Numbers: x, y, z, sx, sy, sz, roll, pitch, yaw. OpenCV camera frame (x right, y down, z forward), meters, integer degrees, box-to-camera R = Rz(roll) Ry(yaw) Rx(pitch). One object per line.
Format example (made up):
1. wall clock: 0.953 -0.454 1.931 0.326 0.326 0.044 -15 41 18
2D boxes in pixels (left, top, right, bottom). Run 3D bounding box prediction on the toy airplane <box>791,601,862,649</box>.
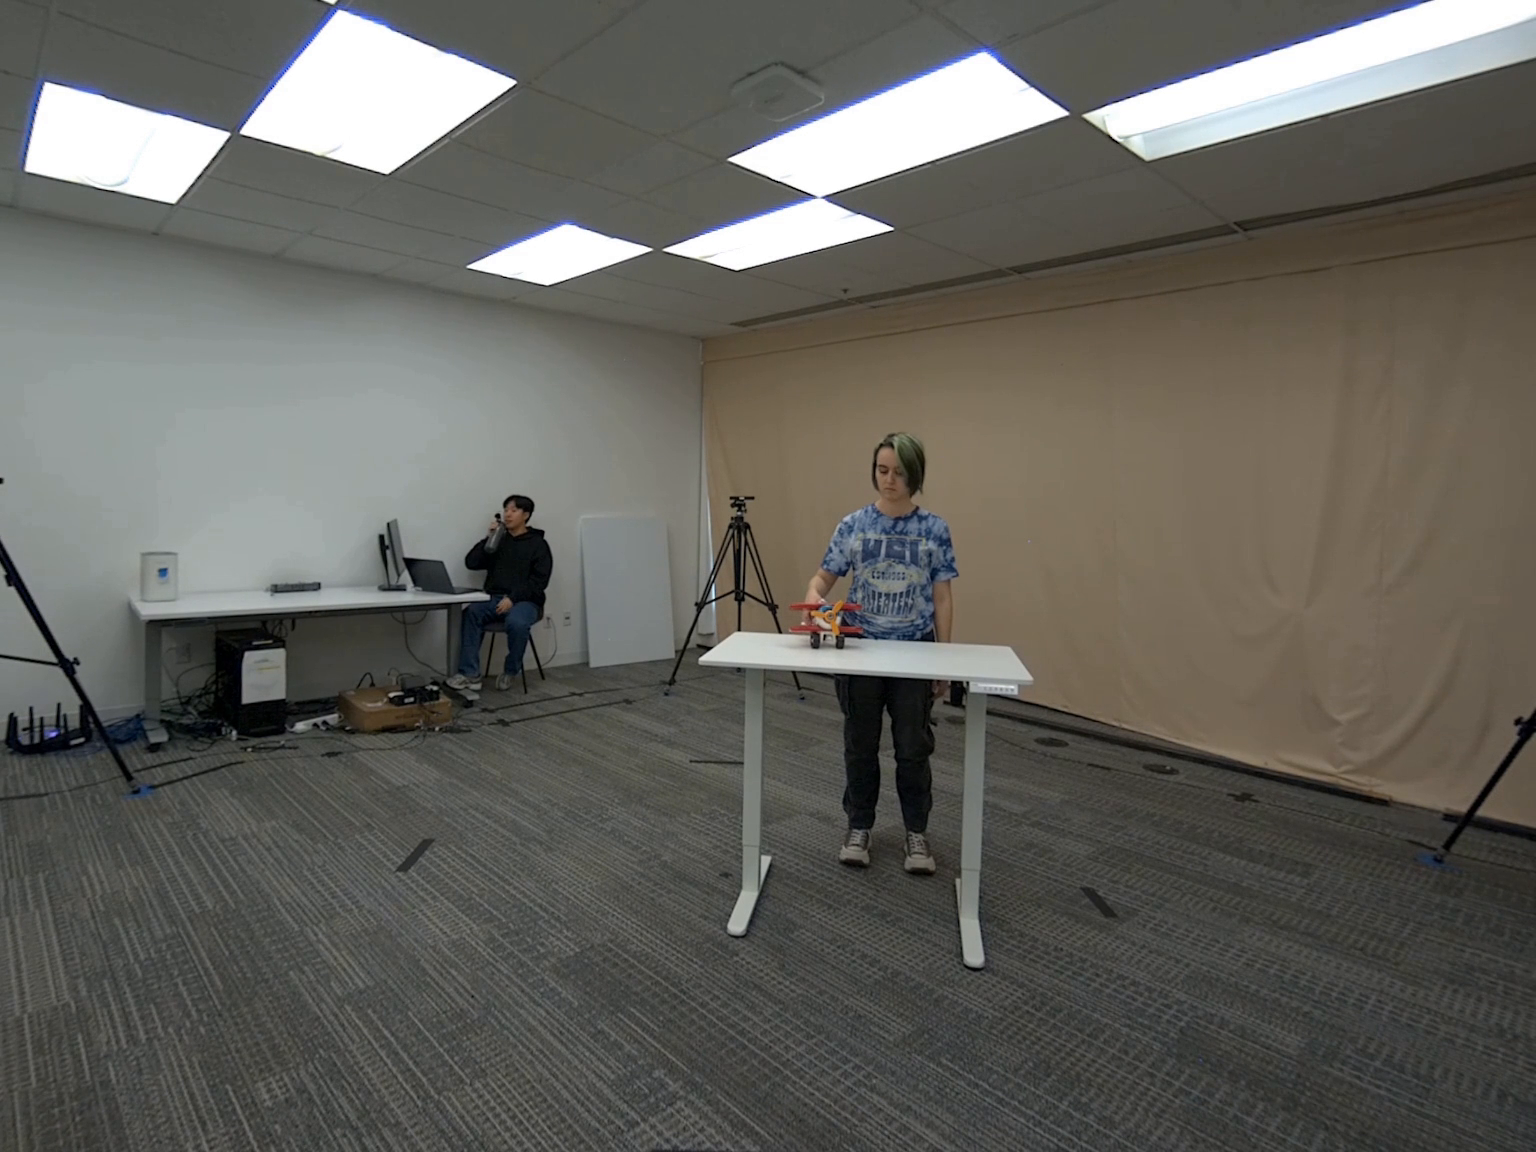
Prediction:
1. toy airplane: 0.176 0.166 2.977 0.246 0.156 0.265 -2 5 -31
